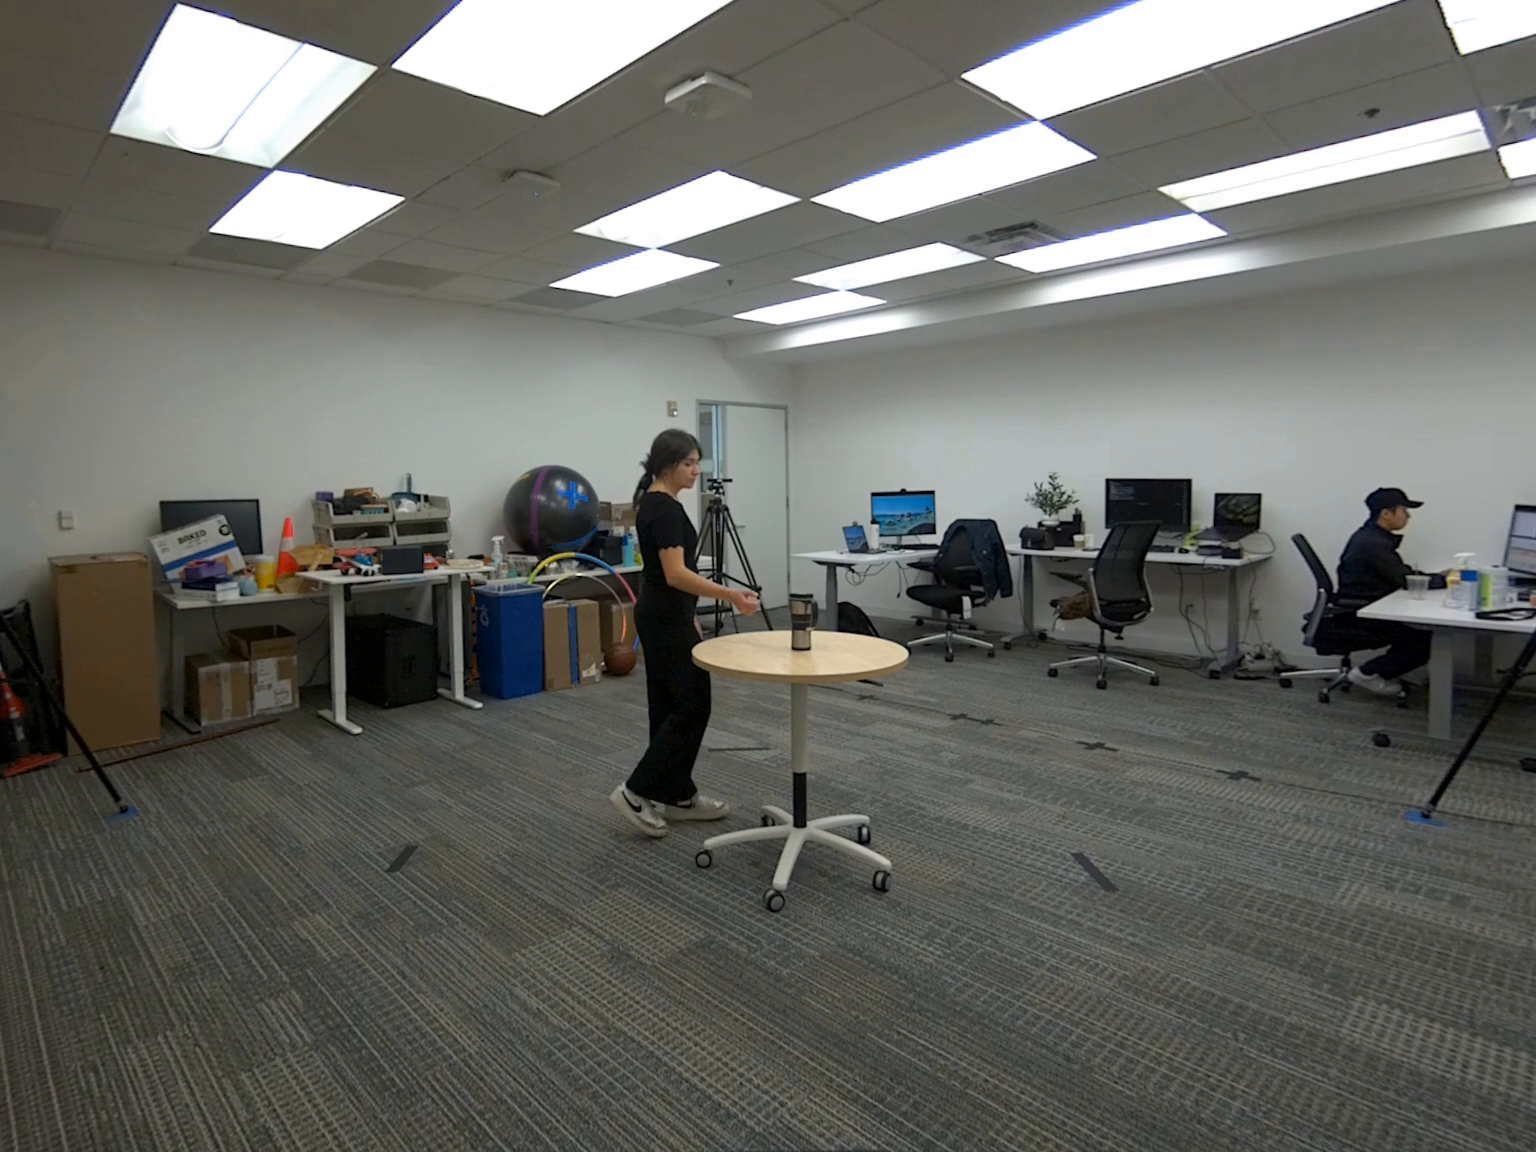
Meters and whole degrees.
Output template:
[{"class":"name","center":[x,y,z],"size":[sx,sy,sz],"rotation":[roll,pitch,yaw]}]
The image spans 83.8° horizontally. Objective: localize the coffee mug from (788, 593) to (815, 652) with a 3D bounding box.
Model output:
[{"class":"coffee mug","center":[0.111,0.166,3.043],"size":[0.090,0.202,0.119],"rotation":[5,3,29]}]
